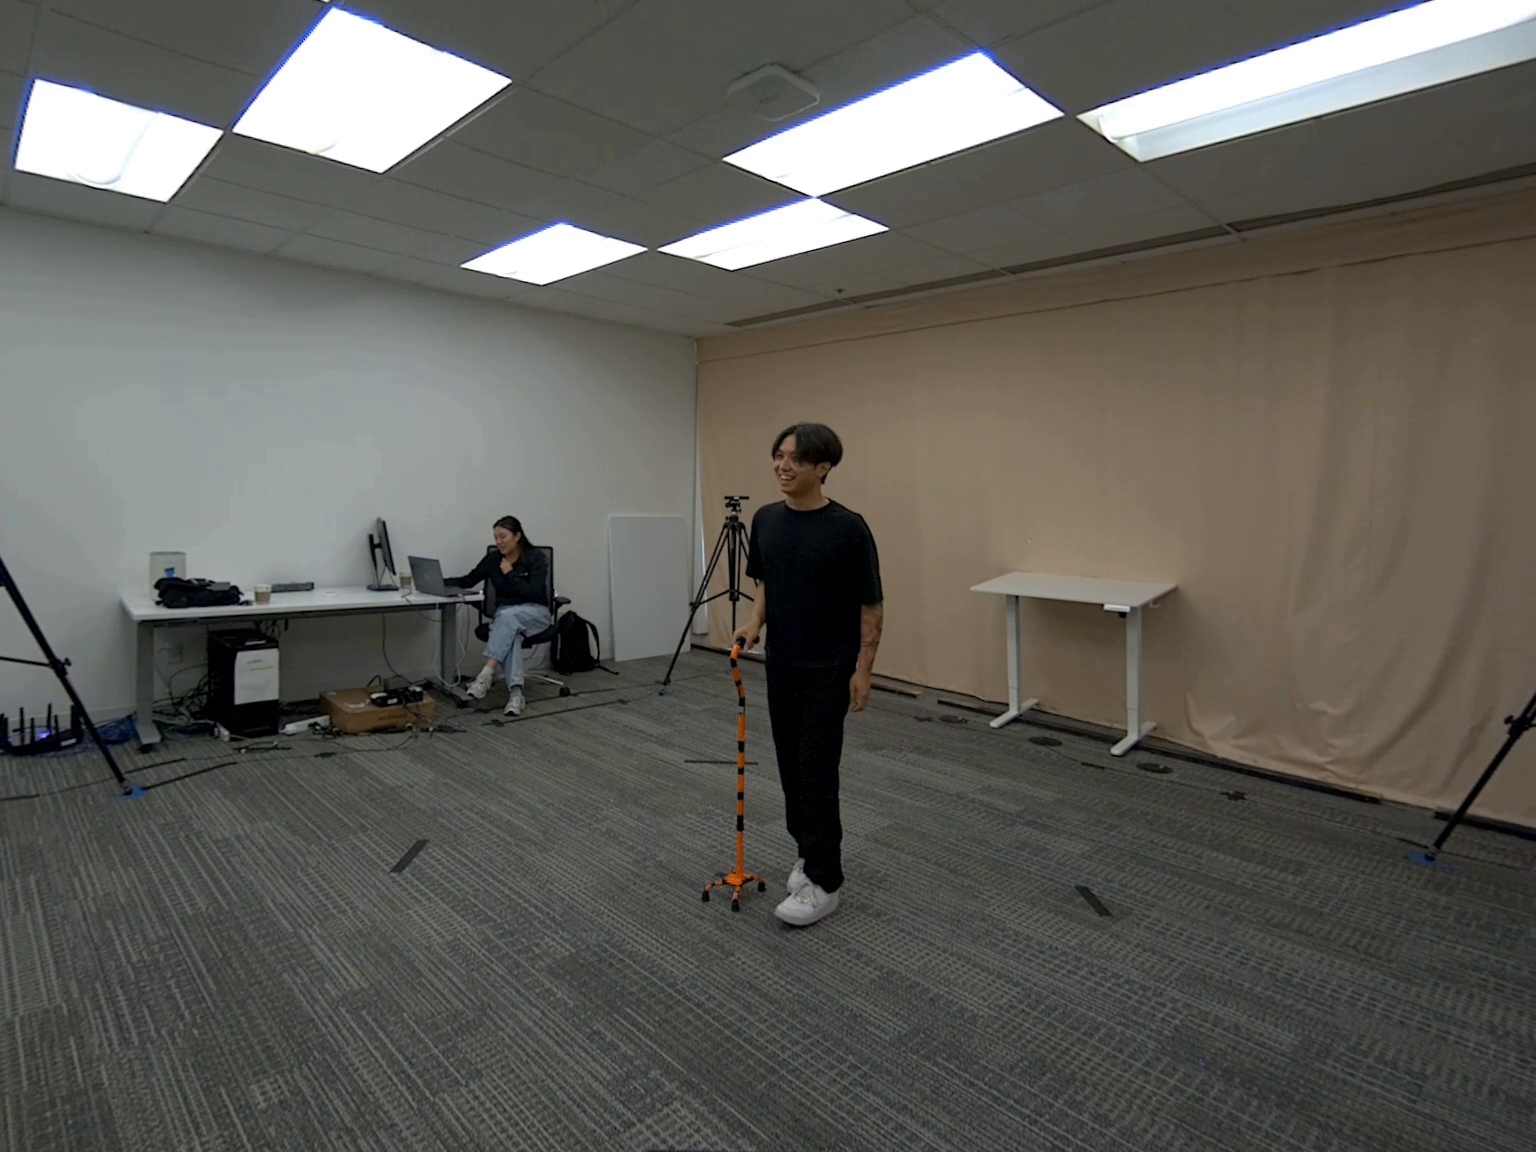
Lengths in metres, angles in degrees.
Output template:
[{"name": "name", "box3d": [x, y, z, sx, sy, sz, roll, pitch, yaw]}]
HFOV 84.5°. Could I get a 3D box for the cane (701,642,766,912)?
[{"name": "cane", "box3d": [-0.117, 0.670, 2.929, 0.155, 0.905, 0.202, 4, 5, 29]}]
